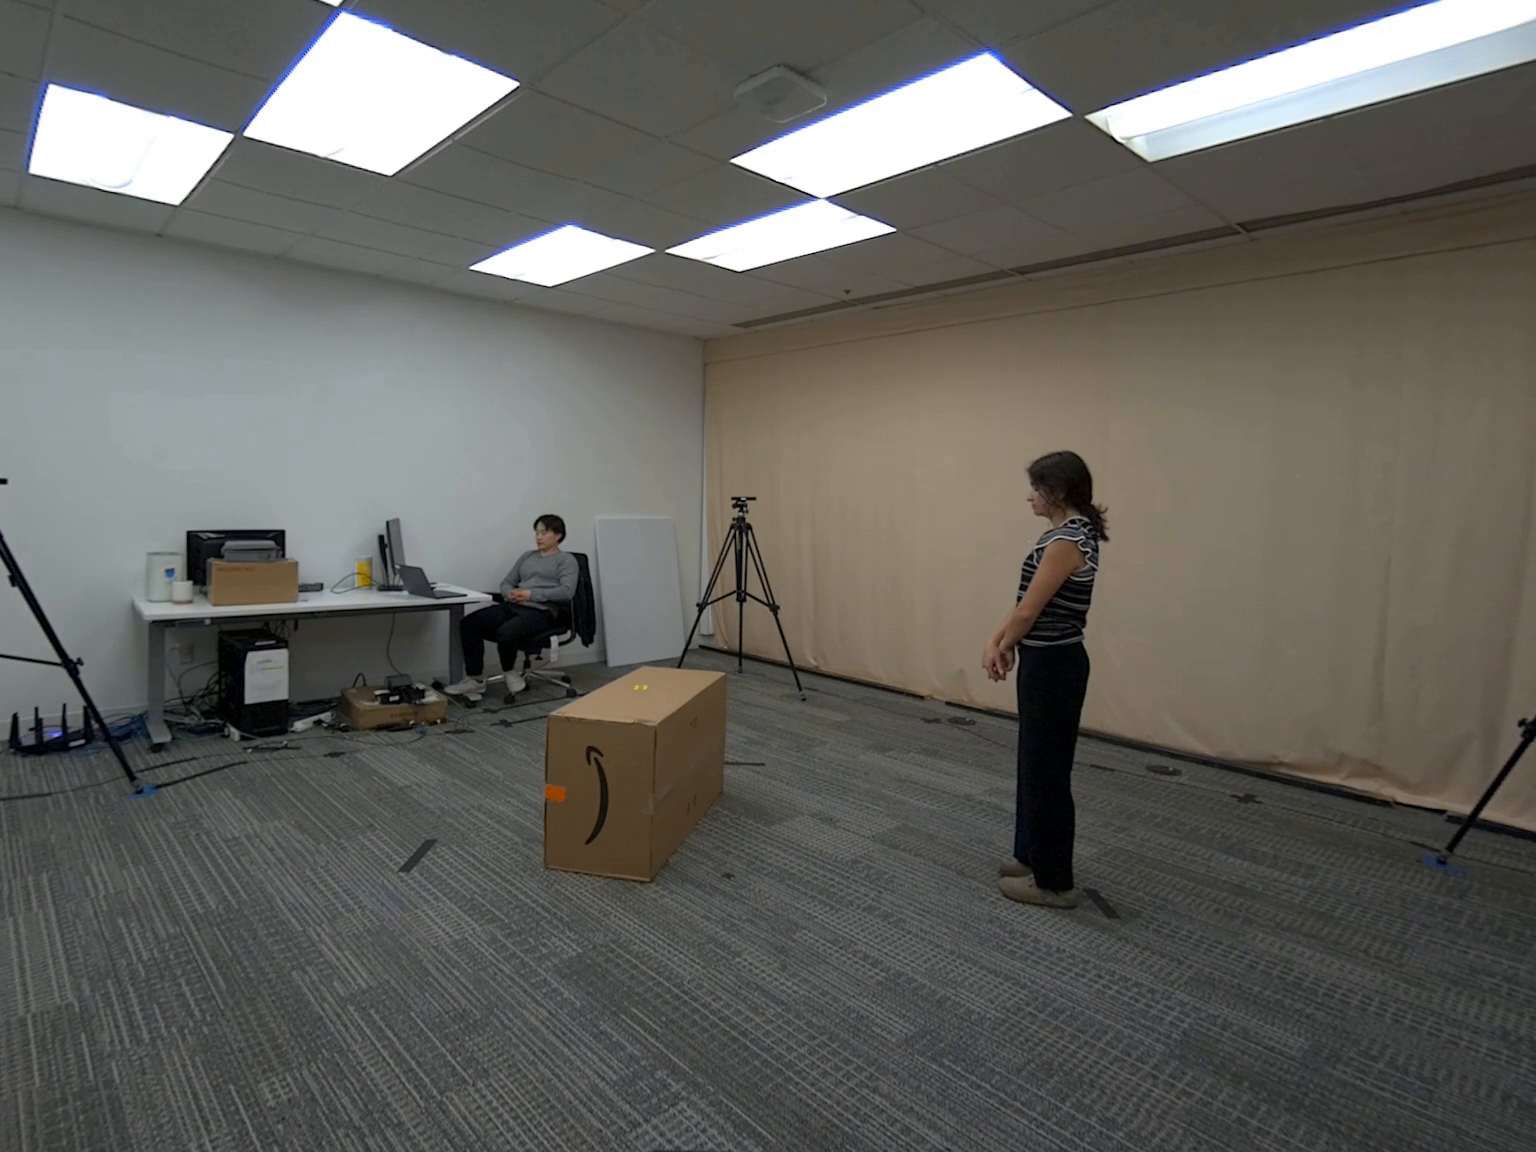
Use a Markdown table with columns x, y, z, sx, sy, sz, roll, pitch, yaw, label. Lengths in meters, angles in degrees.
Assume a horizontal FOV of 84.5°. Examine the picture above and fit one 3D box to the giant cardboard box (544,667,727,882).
| x | y | z | sx | sy | sz | roll | pitch | yaw | label |
| --- | --- | --- | --- | --- | --- | --- | --- | --- | --- |
| -0.527 | 0.767 | 3.570 | 0.431 | 0.576 | 1.017 | 2 | 4 | 13 | giant cardboard box |
